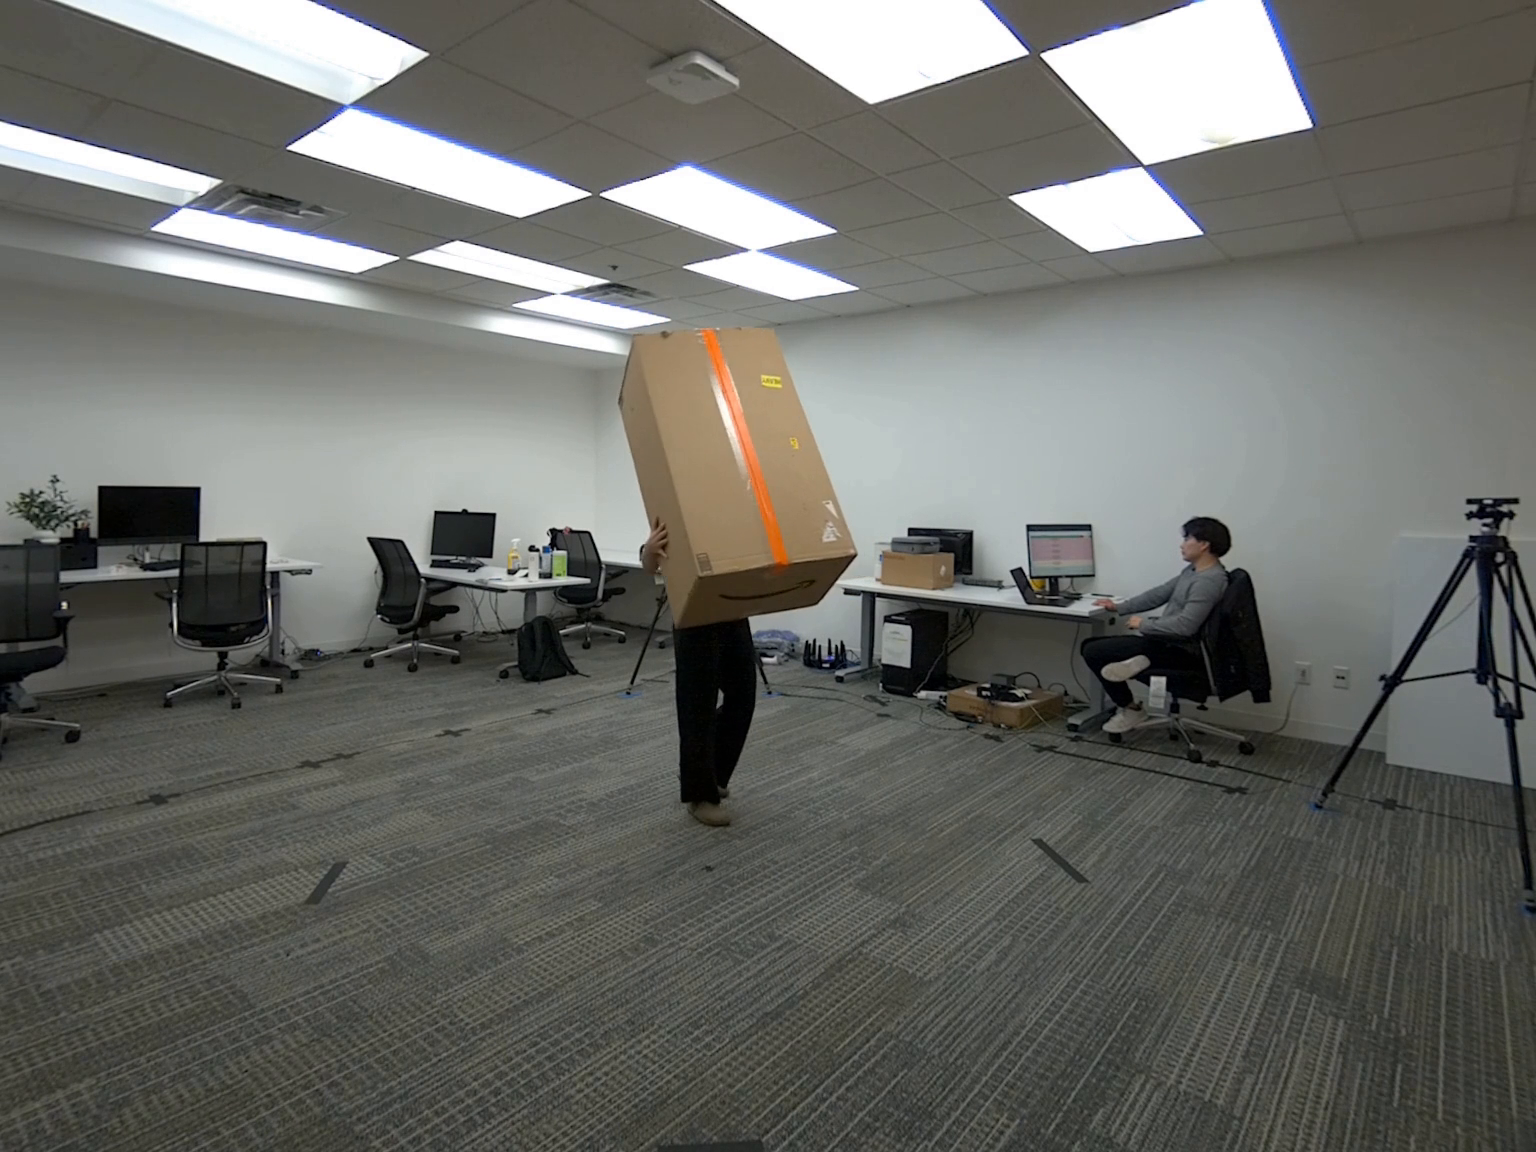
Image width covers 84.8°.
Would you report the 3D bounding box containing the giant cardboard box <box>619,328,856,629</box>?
[{"bbox_3d":[-0.164,-0.391,3.203,0.567,1.055,0.422,-8,-26,-21],"label":"giant cardboard box"}]
